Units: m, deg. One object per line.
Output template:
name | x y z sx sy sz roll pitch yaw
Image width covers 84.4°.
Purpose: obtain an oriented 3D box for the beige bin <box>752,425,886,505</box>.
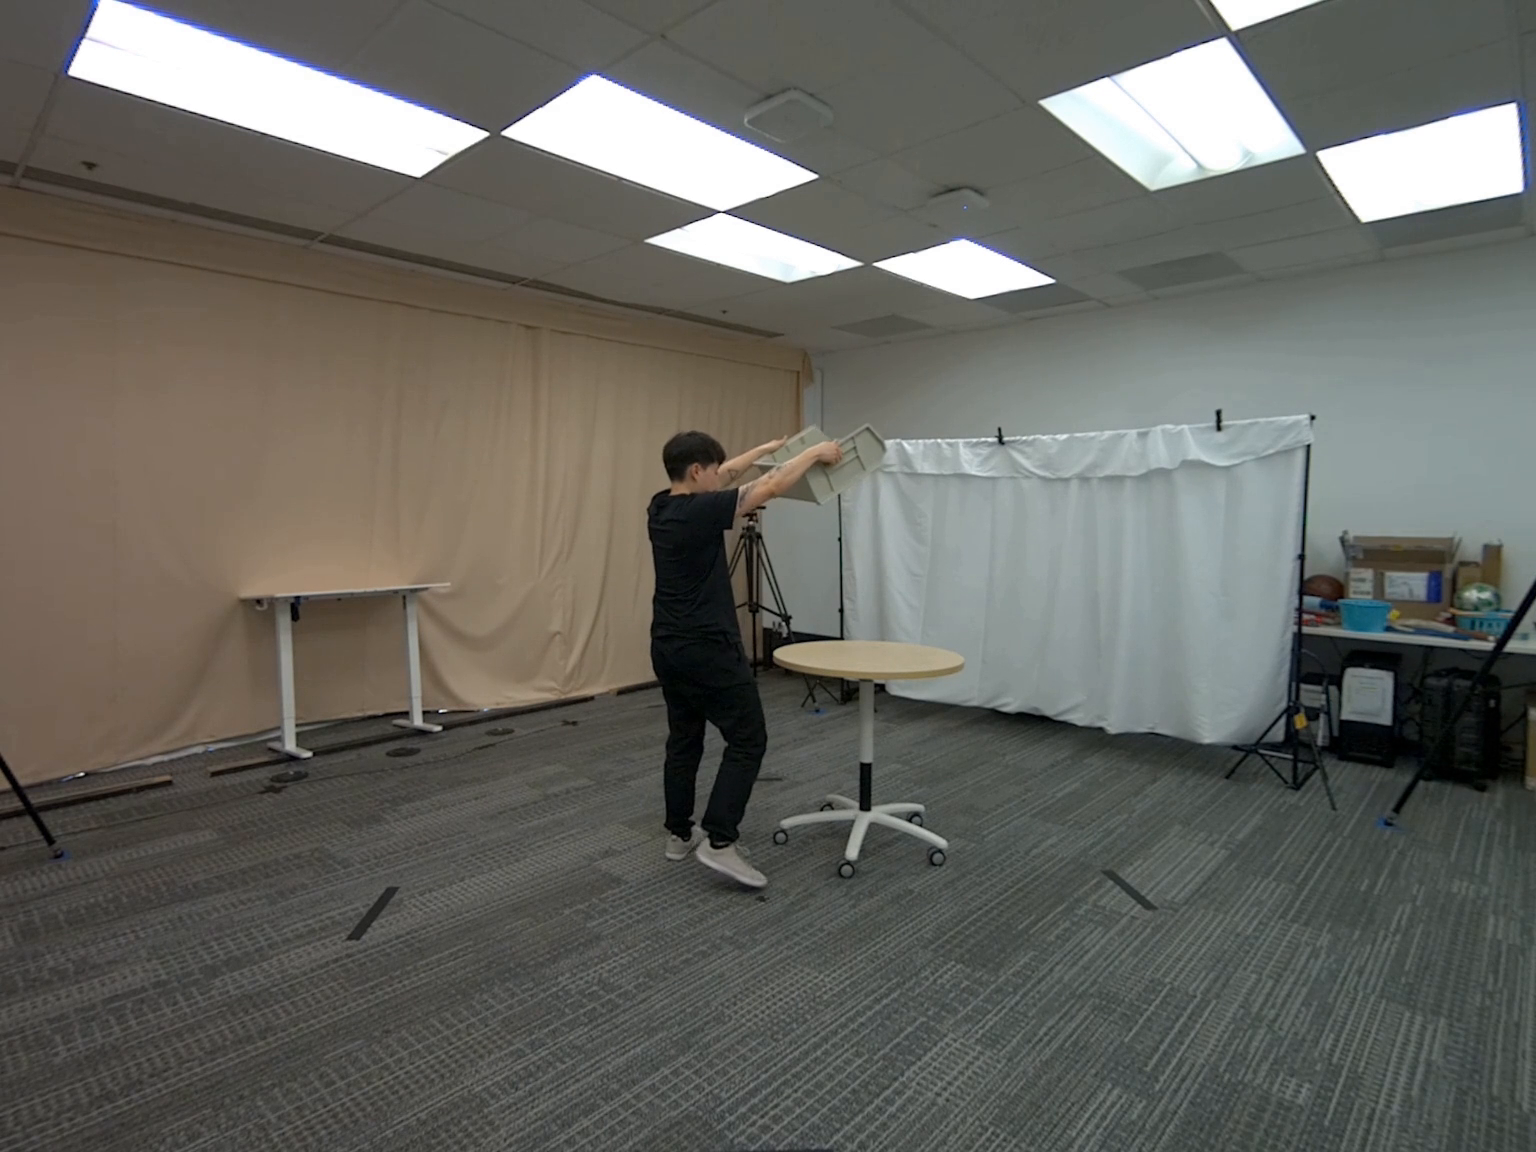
beige bin | 0.224 -0.459 3.434 0.374 0.185 0.435 -35 23 -17
